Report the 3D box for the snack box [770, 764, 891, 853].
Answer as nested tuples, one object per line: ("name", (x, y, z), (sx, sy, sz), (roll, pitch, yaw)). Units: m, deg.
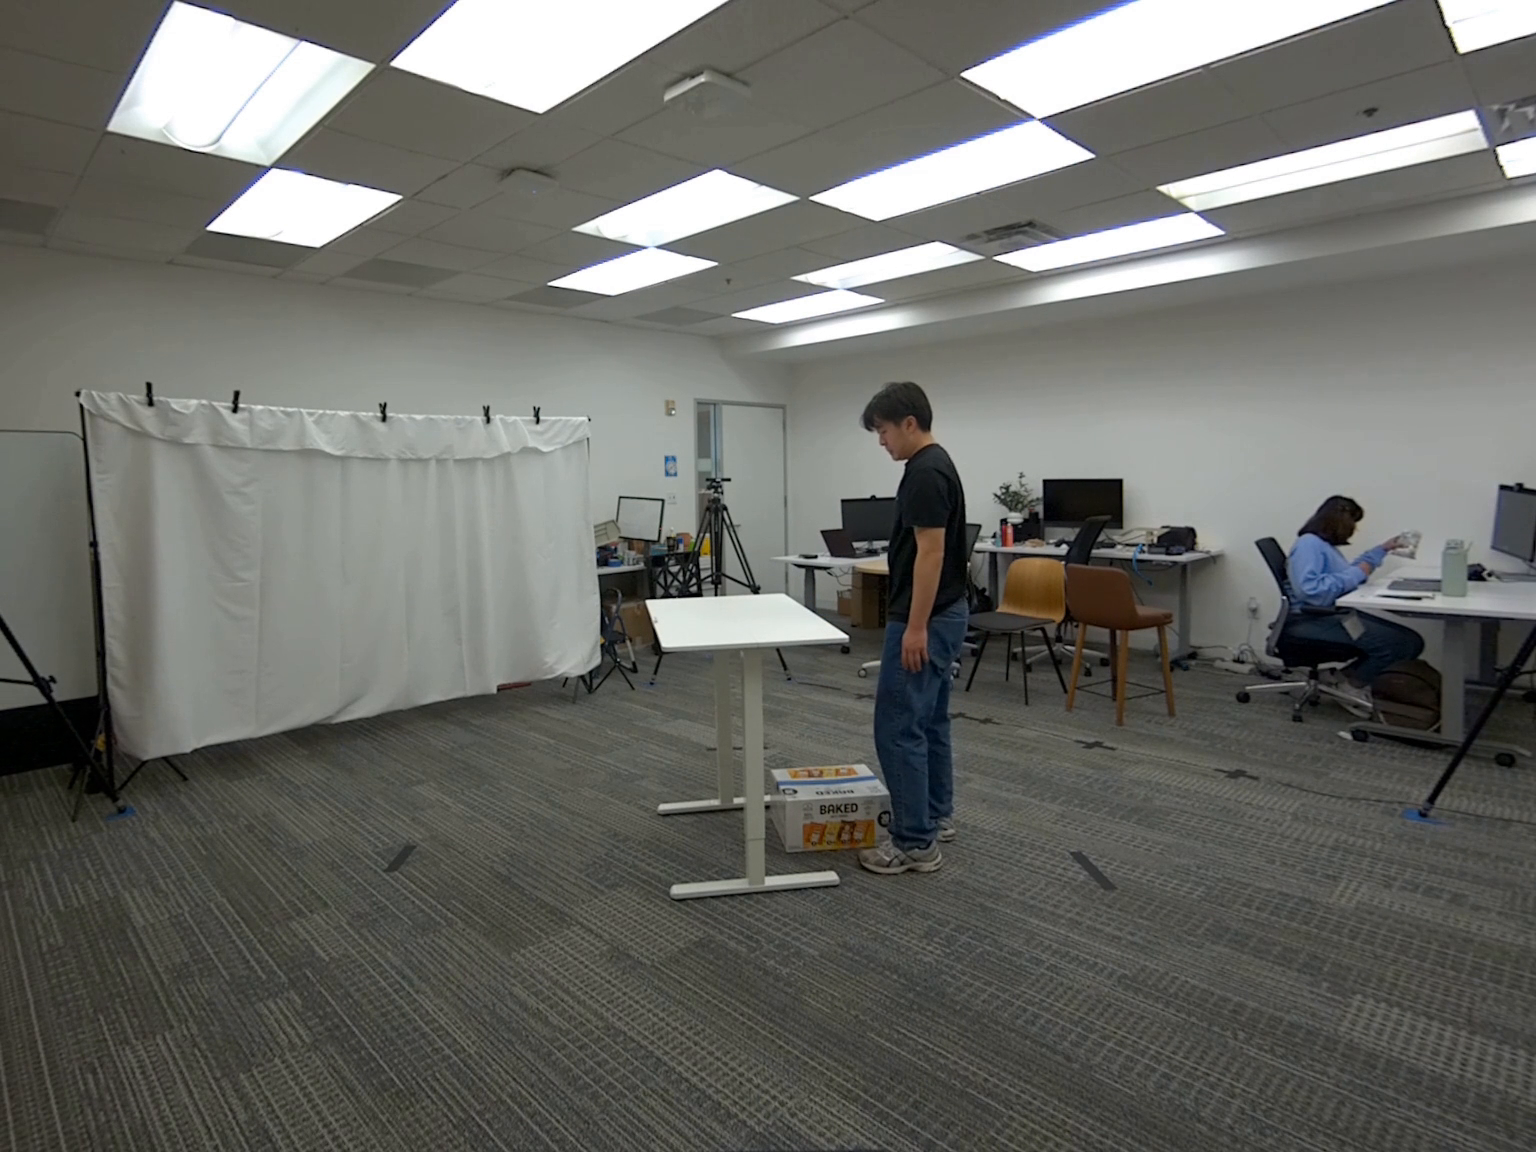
("snack box", (0.242, 0.908, 3.362), (0.402, 0.205, 0.344), (-2, 5, -8))
